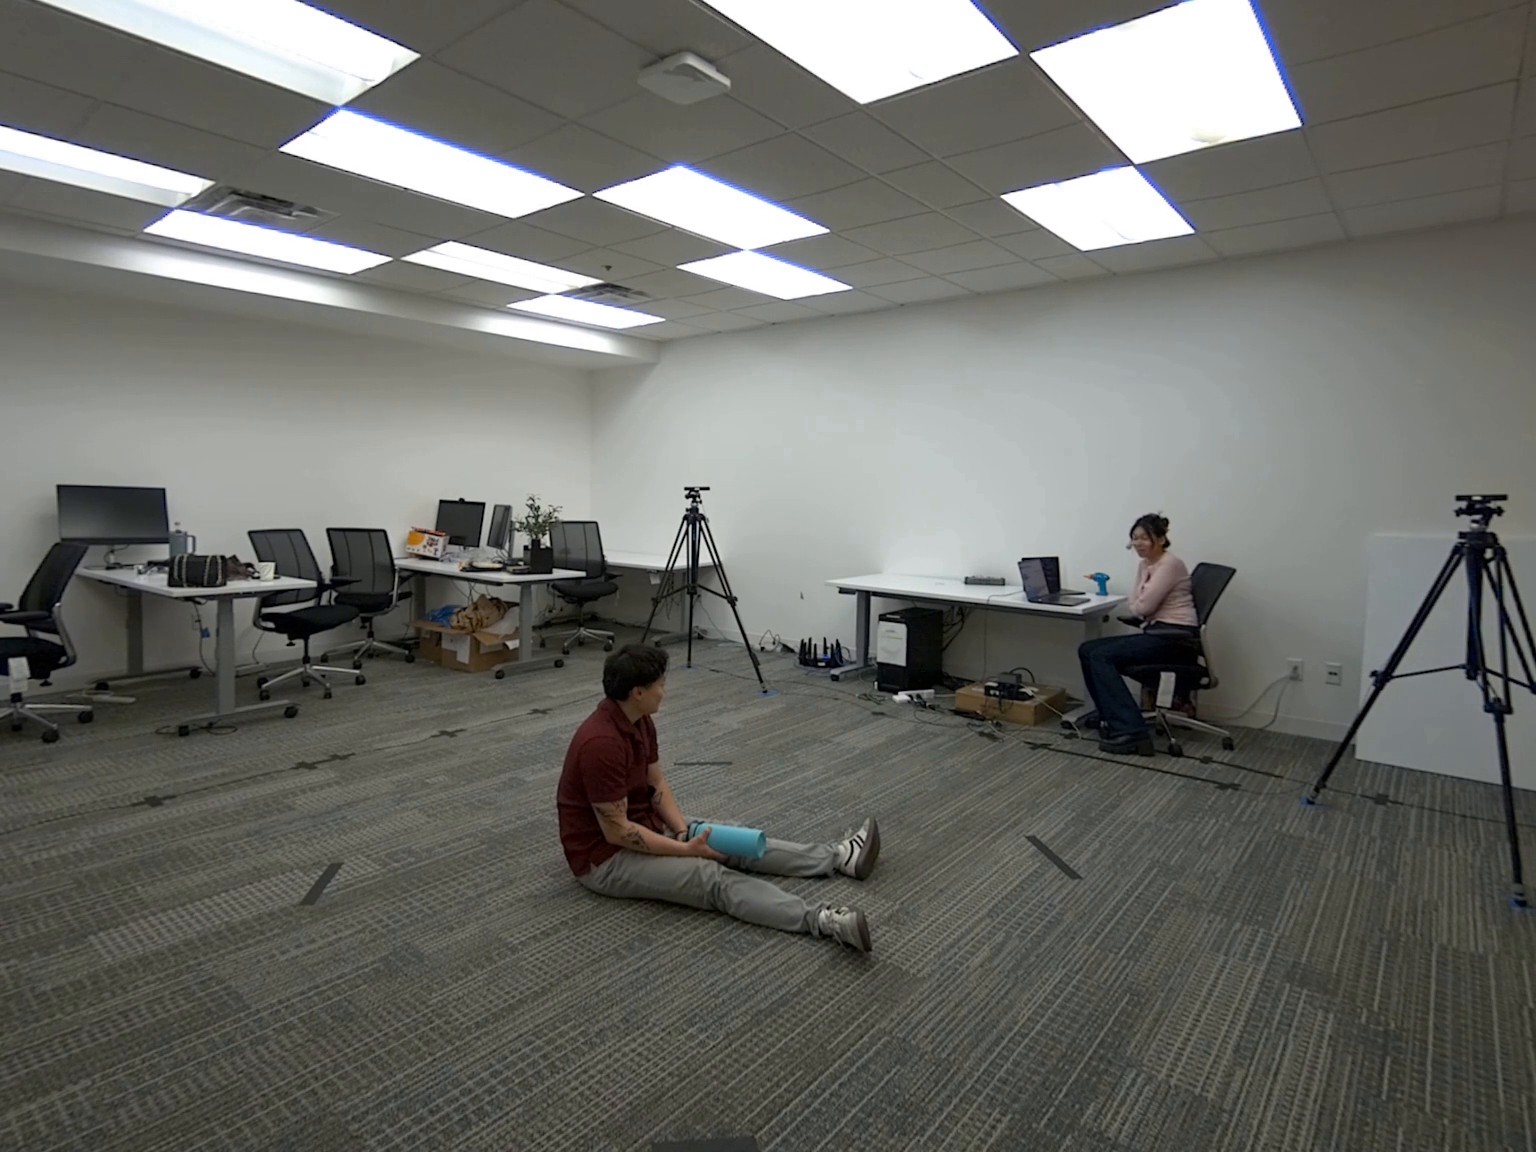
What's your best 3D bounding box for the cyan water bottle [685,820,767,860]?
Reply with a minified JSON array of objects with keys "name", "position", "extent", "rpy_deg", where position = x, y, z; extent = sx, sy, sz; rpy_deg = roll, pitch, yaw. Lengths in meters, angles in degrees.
[{"name":"cyan water bottle","position":[-0.164,0.893,2.876],"extent":[0.290,0.092,0.090],"rpy_deg":[1,4,23]}]
